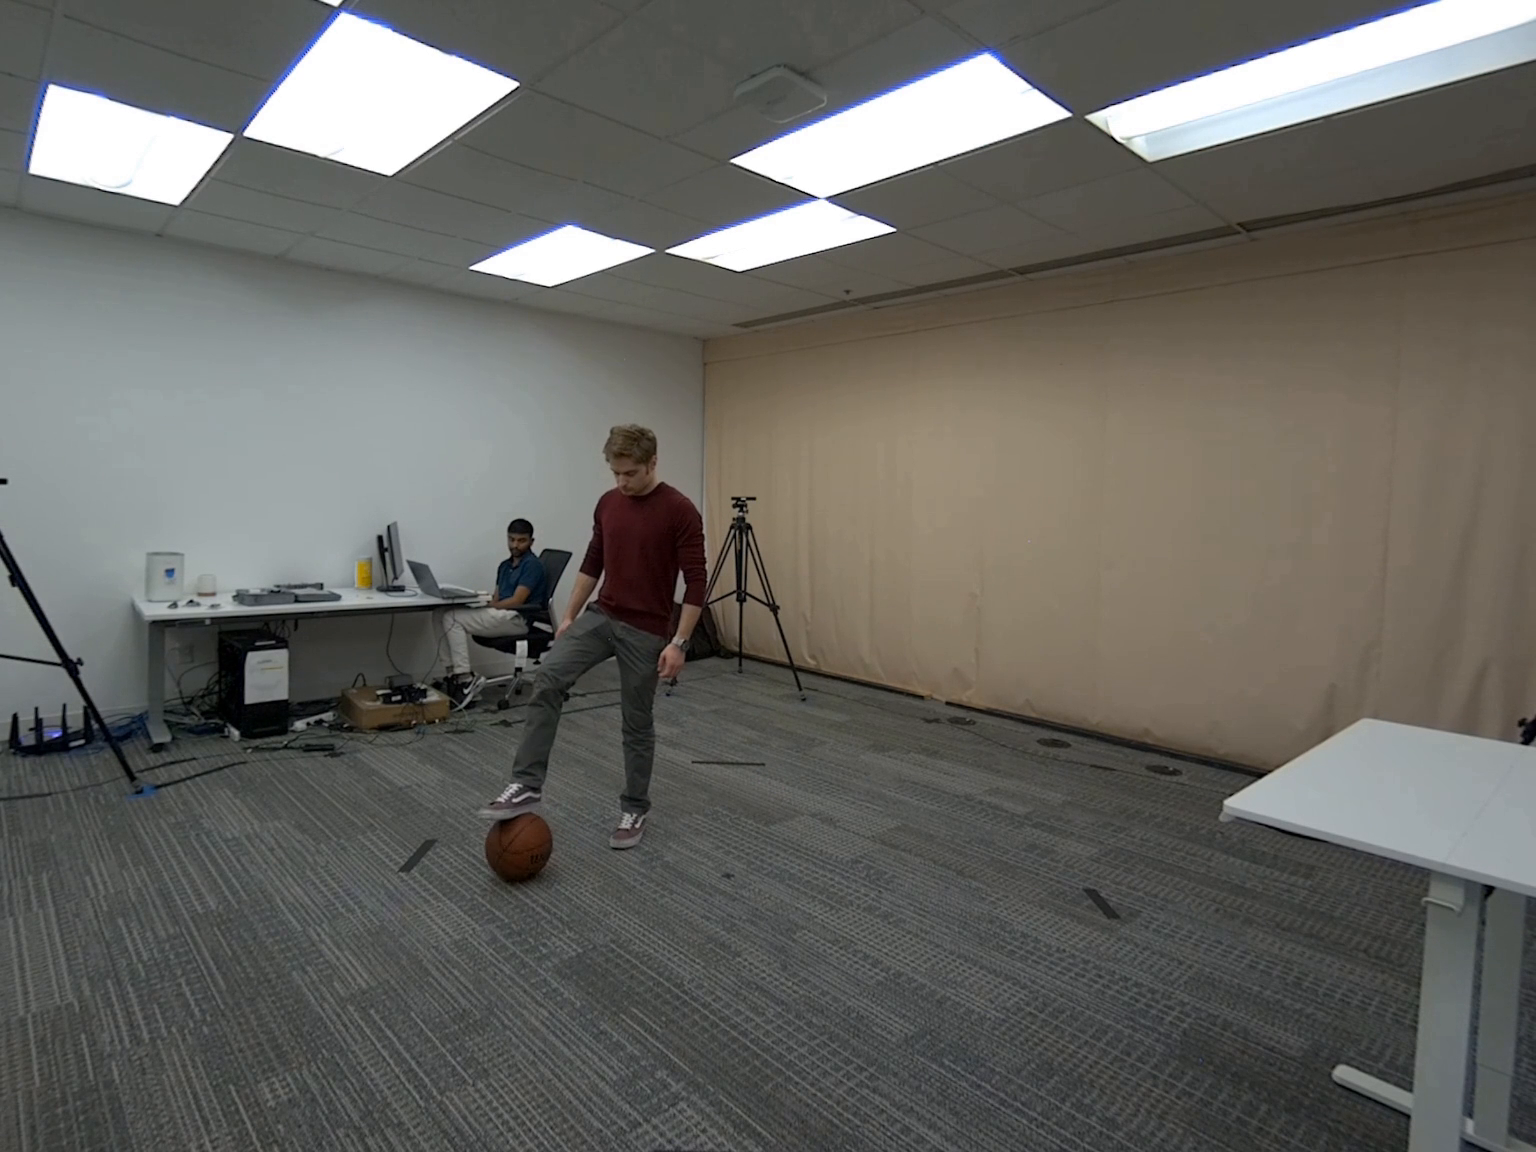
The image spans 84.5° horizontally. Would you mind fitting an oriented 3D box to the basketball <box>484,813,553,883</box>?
[{"bbox_3d":[-0.907,0.978,3.047,0.236,0.235,0.237,1,4,-1],"label":"basketball"}]
